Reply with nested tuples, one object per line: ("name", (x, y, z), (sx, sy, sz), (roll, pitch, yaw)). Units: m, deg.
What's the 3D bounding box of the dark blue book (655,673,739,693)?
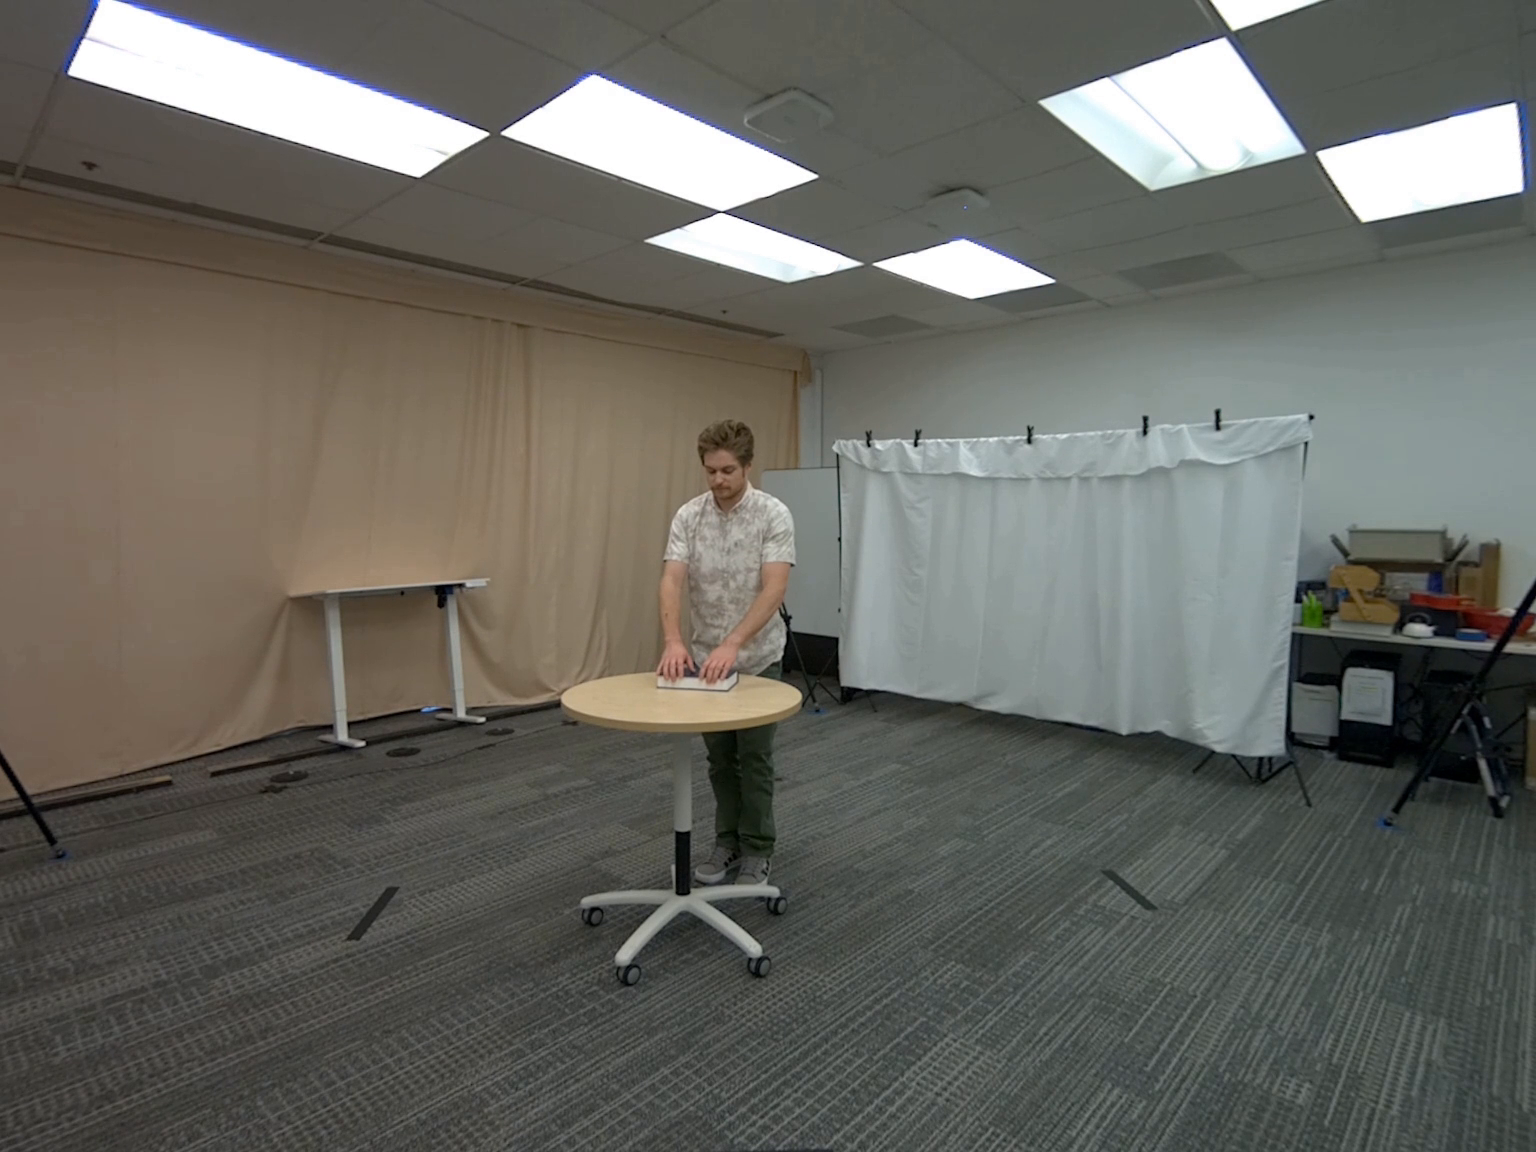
("dark blue book", (-0.239, 0.348, 2.844), (0.248, 0.045, 0.161), (1, 5, 12))
